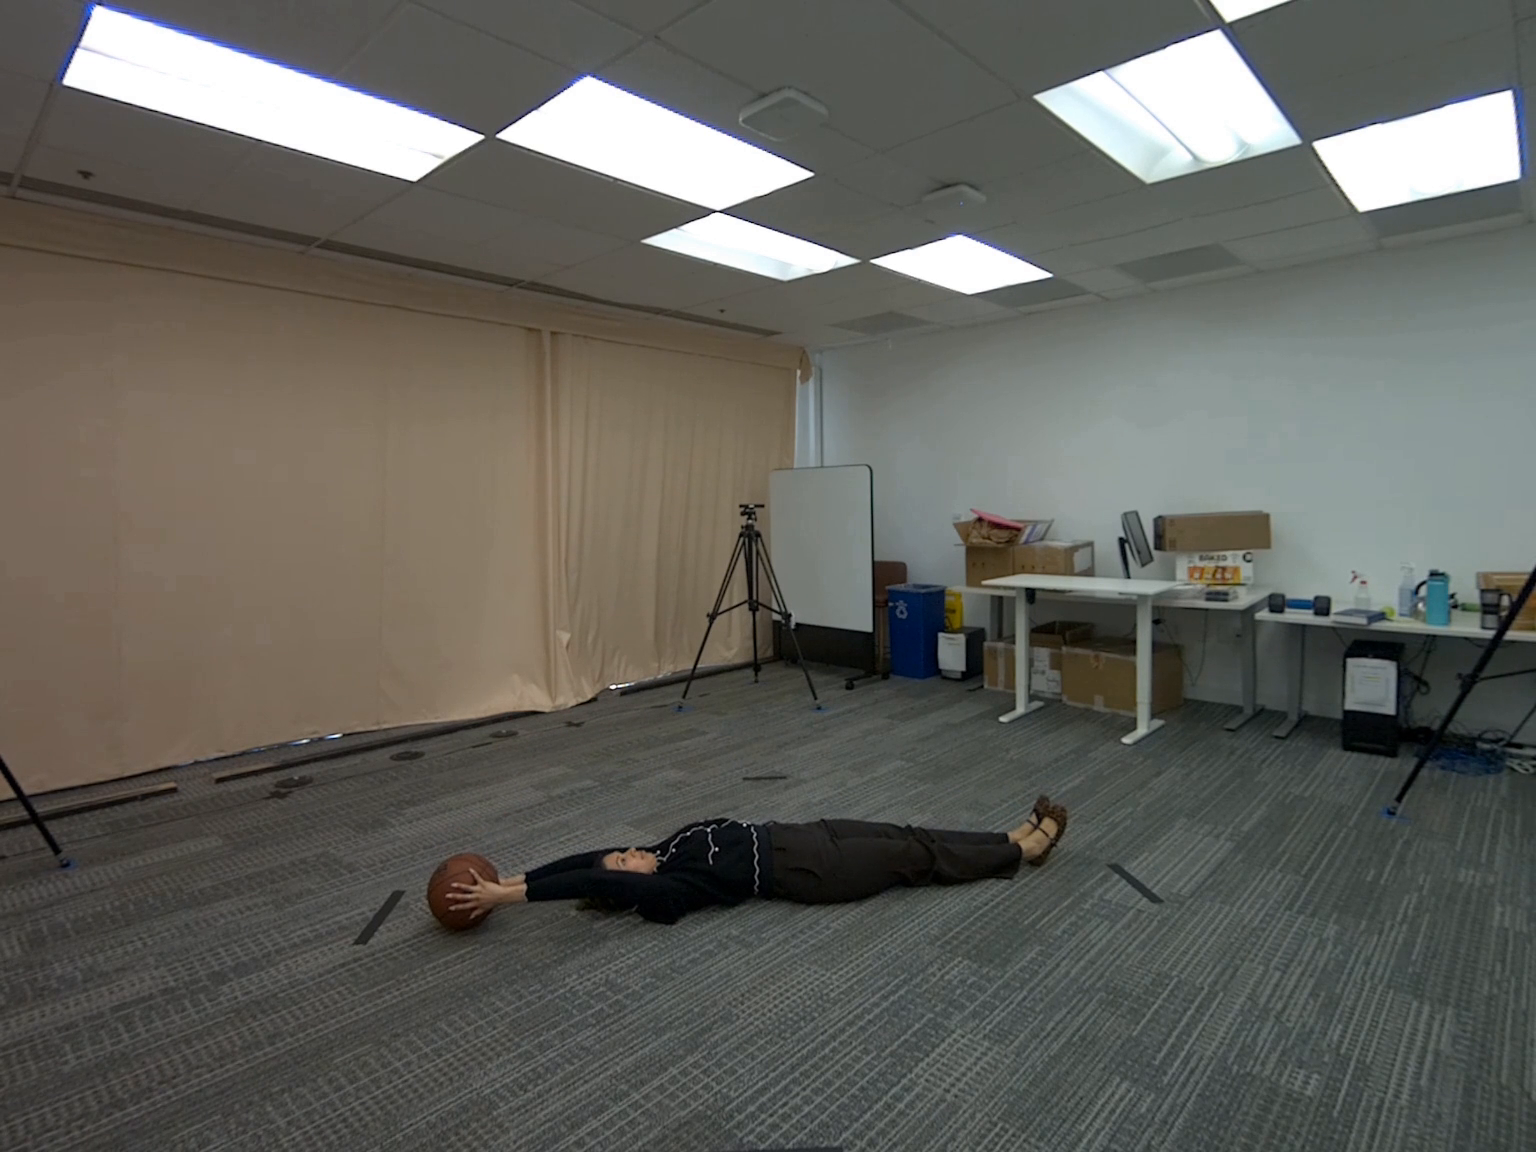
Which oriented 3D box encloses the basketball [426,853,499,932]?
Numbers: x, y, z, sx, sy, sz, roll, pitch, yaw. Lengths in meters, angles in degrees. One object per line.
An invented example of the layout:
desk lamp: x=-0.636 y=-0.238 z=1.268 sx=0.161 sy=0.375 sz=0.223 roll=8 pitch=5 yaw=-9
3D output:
basketball: x=-1.028 y=1.058 z=2.827 sx=0.236 sy=0.235 sz=0.237 roll=-1 pitch=4 yaw=-2
